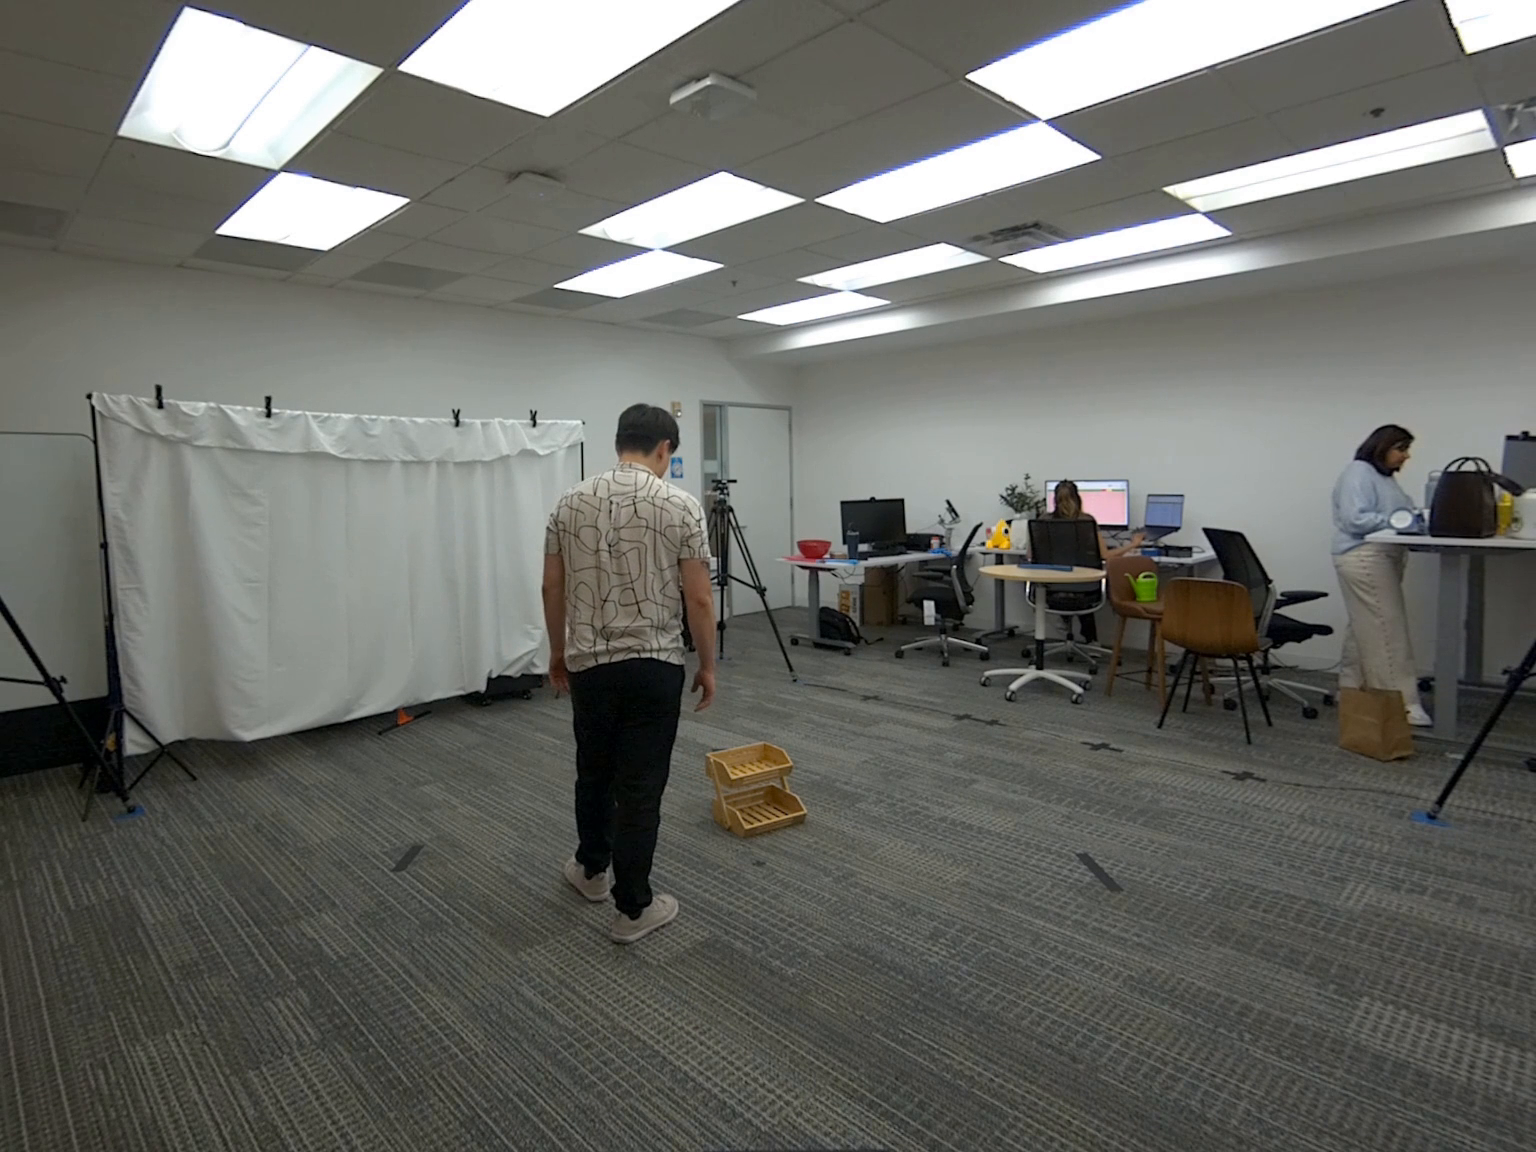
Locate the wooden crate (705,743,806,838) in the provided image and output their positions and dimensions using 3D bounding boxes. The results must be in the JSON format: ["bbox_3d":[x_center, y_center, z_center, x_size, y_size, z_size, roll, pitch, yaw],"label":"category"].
[{"bbox_3d":[-0.050,0.865,3.510,0.316,0.272,0.311,-4,6,-33],"label":"wooden crate"}]
